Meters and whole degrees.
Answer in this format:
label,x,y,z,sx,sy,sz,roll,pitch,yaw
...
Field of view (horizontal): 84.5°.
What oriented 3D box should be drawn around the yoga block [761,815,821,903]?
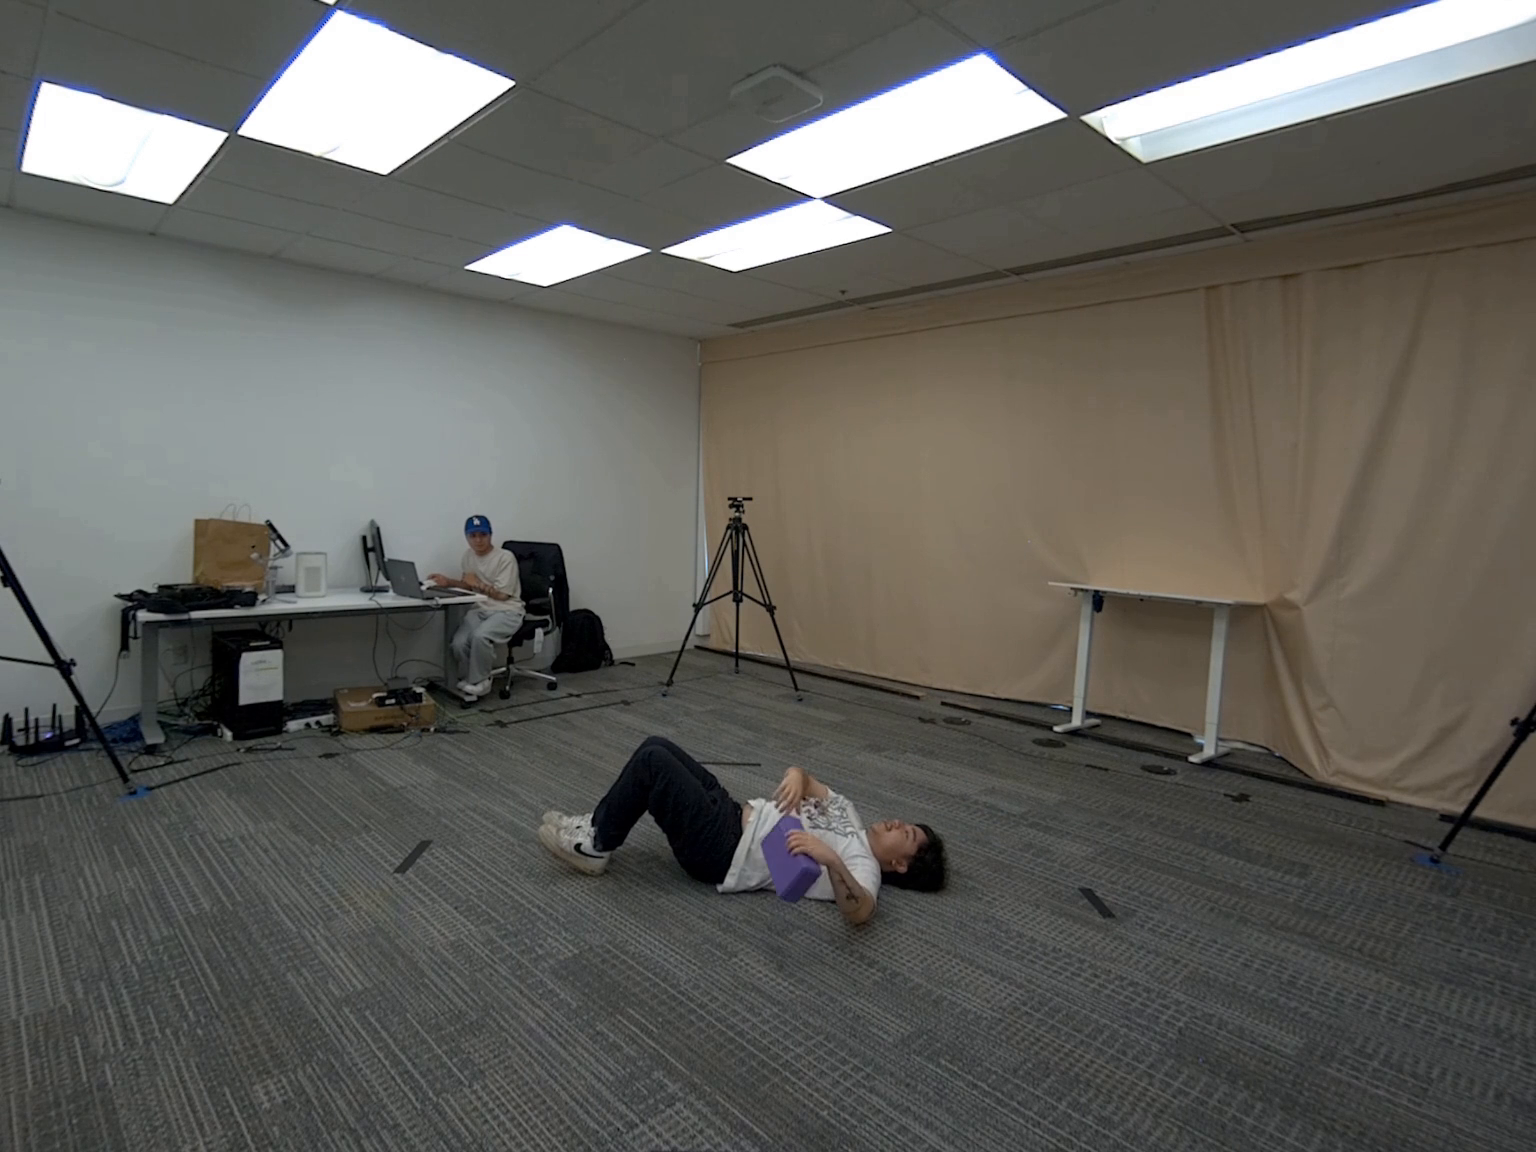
label,x,y,z,sx,sy,sz,roll,pitch,yaw
yoga block,0.070,0.886,2.648,0.075,0.148,0.235,25,20,-23
